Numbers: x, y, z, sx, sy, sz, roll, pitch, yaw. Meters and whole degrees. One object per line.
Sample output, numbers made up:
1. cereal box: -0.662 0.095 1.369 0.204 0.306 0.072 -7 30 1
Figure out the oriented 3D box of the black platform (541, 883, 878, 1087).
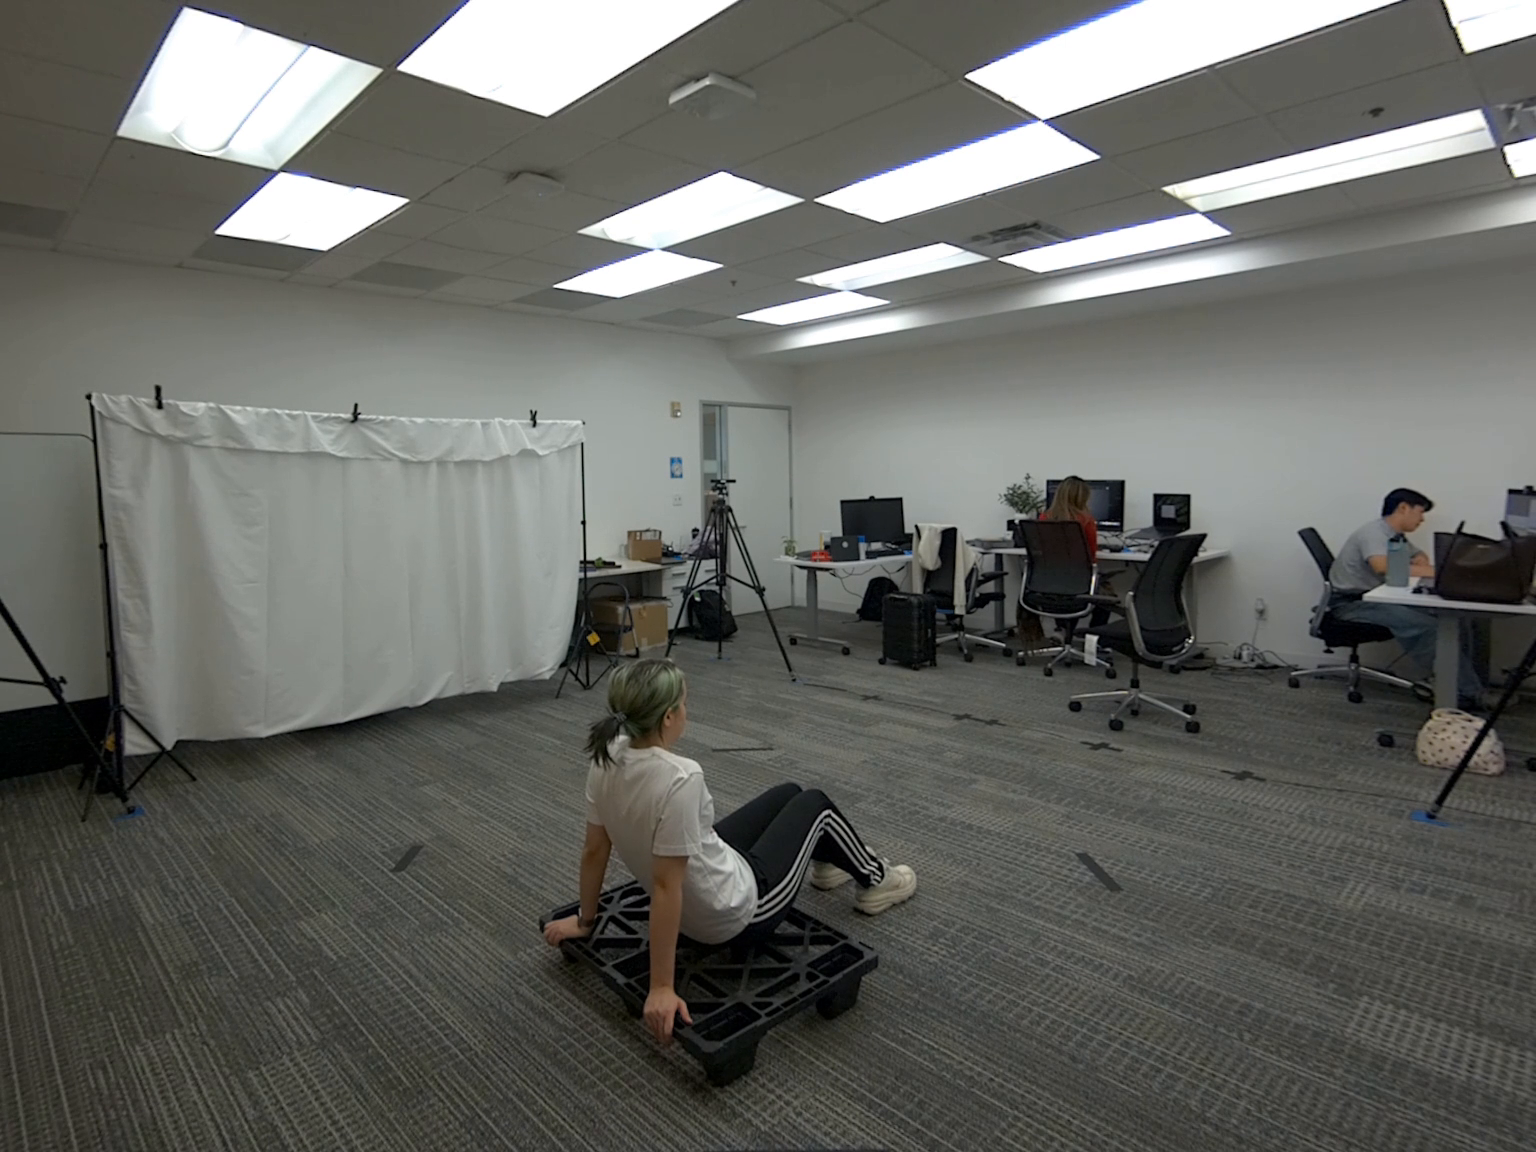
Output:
1. black platform: -0.187 1.065 2.396 0.589 0.142 0.831 -6 8 -40
